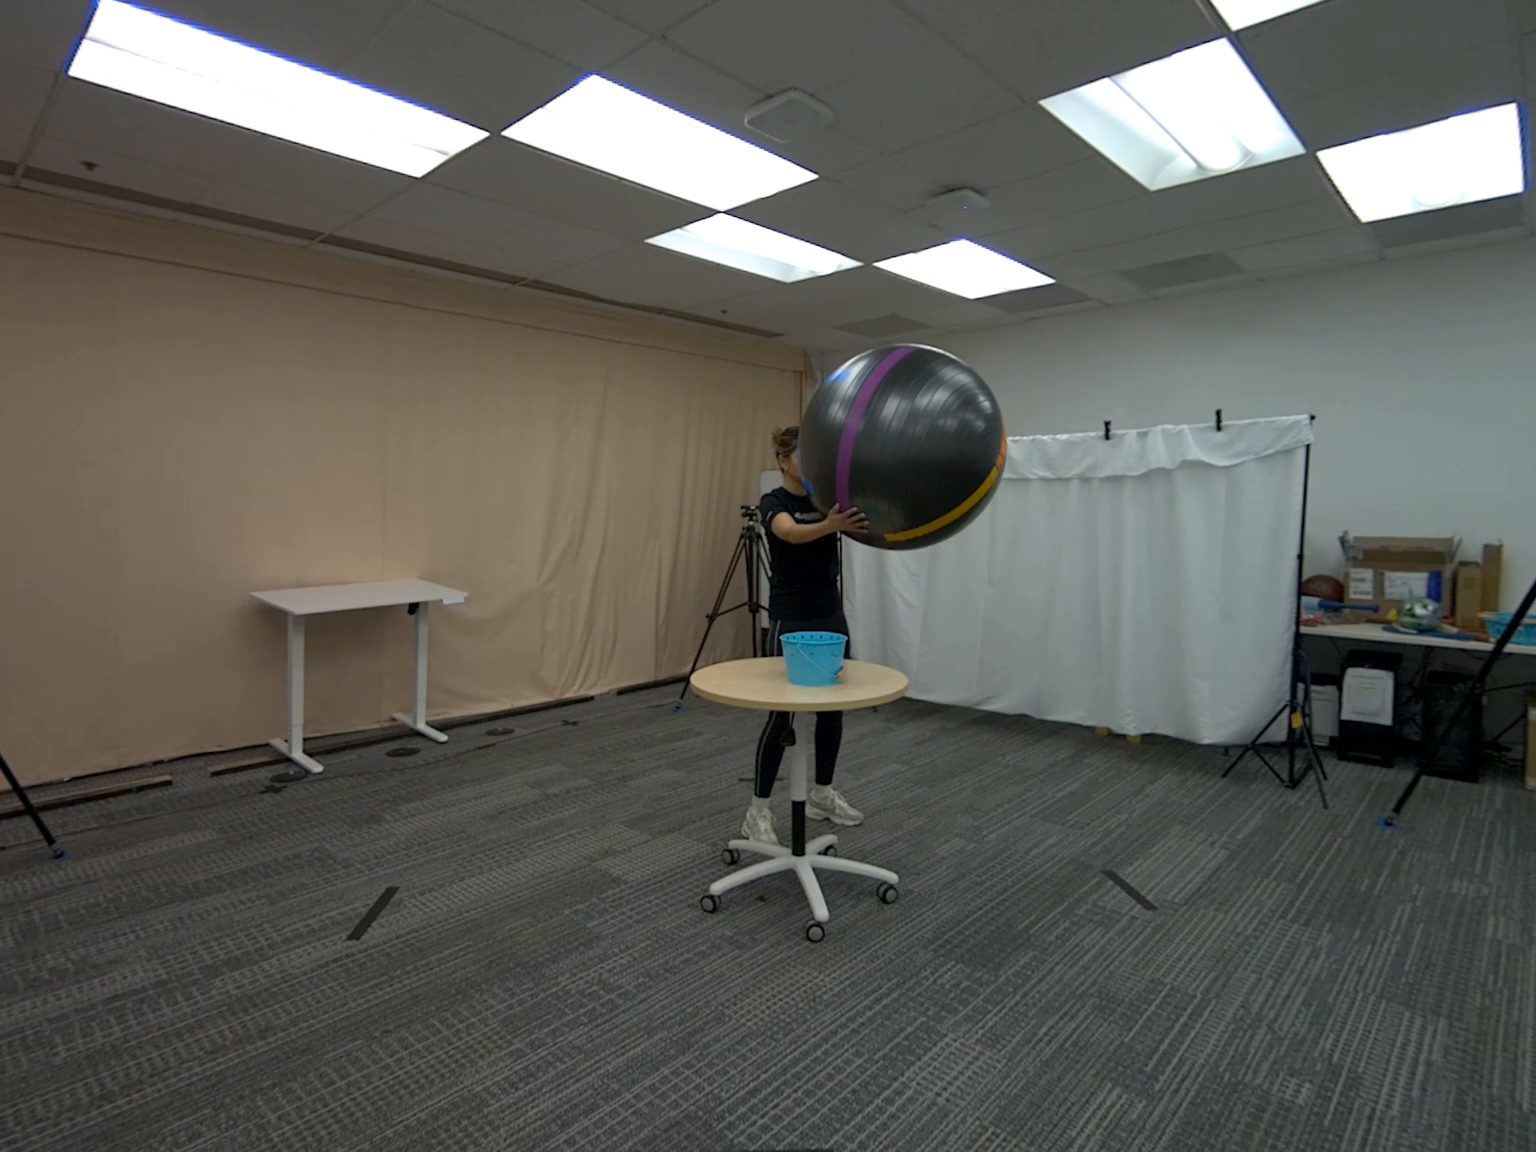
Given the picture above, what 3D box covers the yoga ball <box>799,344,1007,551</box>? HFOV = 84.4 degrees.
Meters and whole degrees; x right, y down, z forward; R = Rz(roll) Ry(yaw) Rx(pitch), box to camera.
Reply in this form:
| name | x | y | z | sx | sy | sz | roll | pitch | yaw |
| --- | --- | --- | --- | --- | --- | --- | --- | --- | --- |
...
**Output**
| name | x | y | z | sx | sy | sz | roll | pitch | yaw |
| --- | --- | --- | --- | --- | --- | --- | --- | --- | --- |
| yoga ball | 0.493 | -0.467 | 3.127 | 0.757 | 0.756 | 0.761 | 0 | 4 | -2 |
